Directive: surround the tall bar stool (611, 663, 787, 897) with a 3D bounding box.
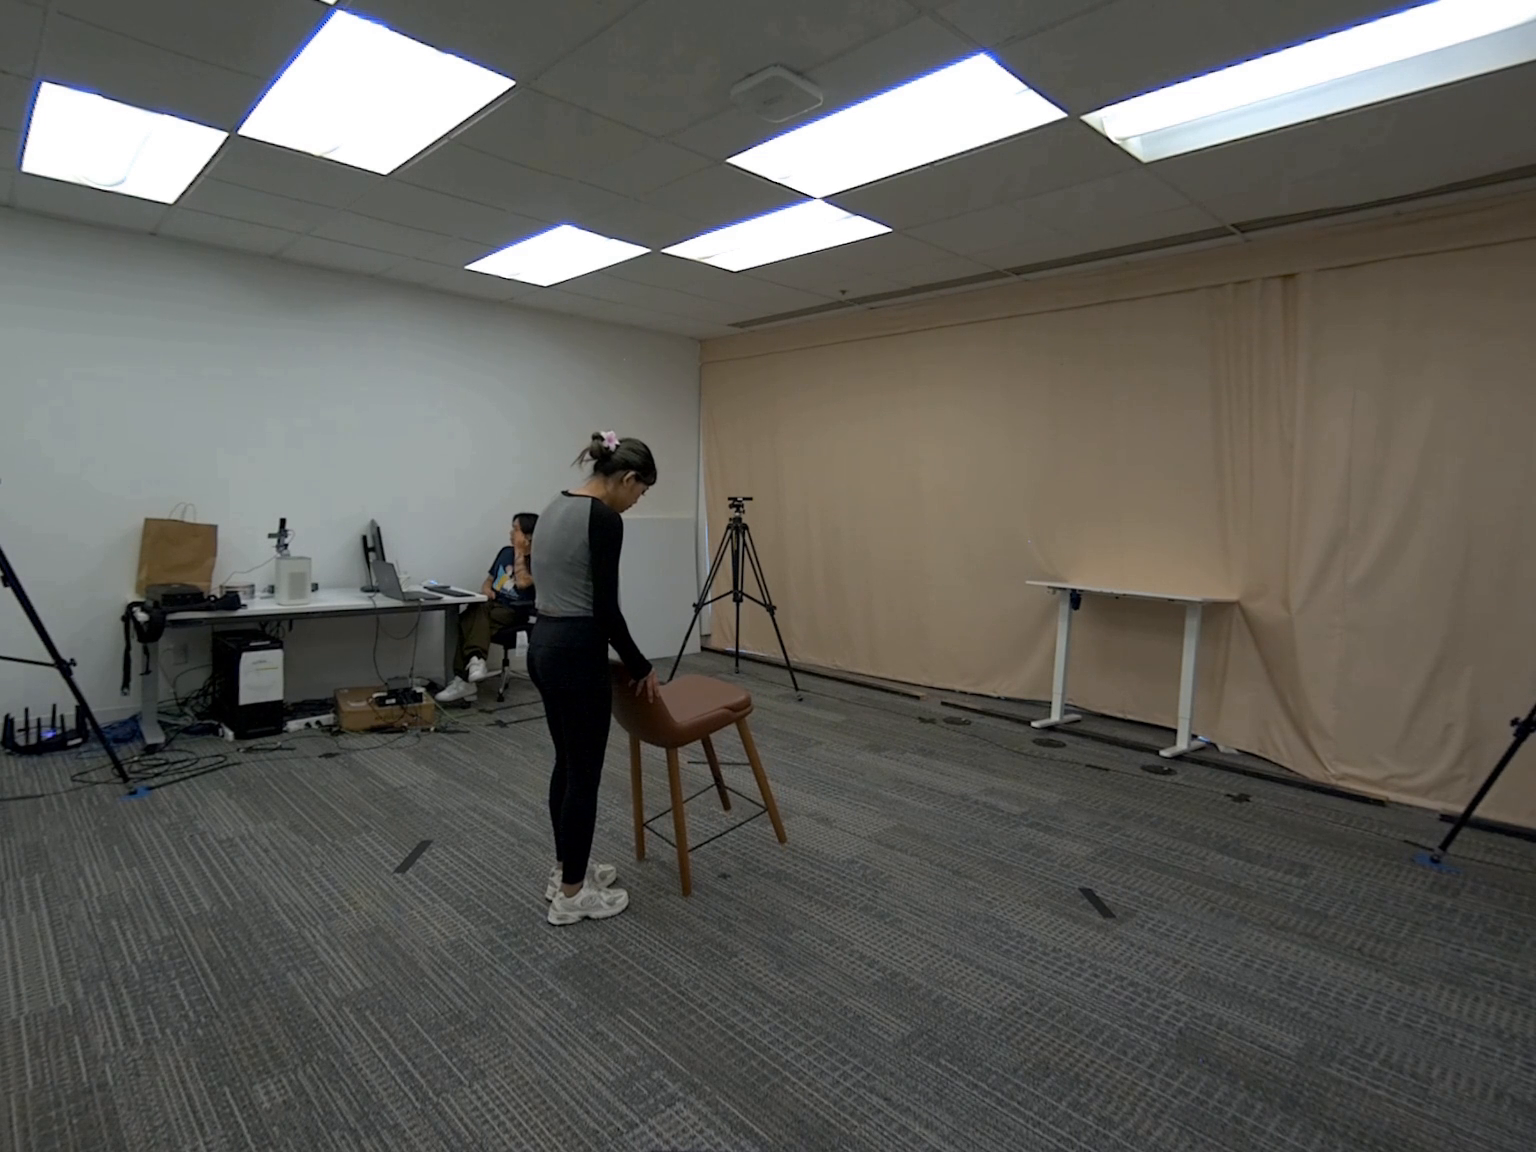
[{"bbox_3d":[-0.315,0.630,3.111,0.461,0.879,0.468,-21,16,-32],"label":"tall bar stool"}]
